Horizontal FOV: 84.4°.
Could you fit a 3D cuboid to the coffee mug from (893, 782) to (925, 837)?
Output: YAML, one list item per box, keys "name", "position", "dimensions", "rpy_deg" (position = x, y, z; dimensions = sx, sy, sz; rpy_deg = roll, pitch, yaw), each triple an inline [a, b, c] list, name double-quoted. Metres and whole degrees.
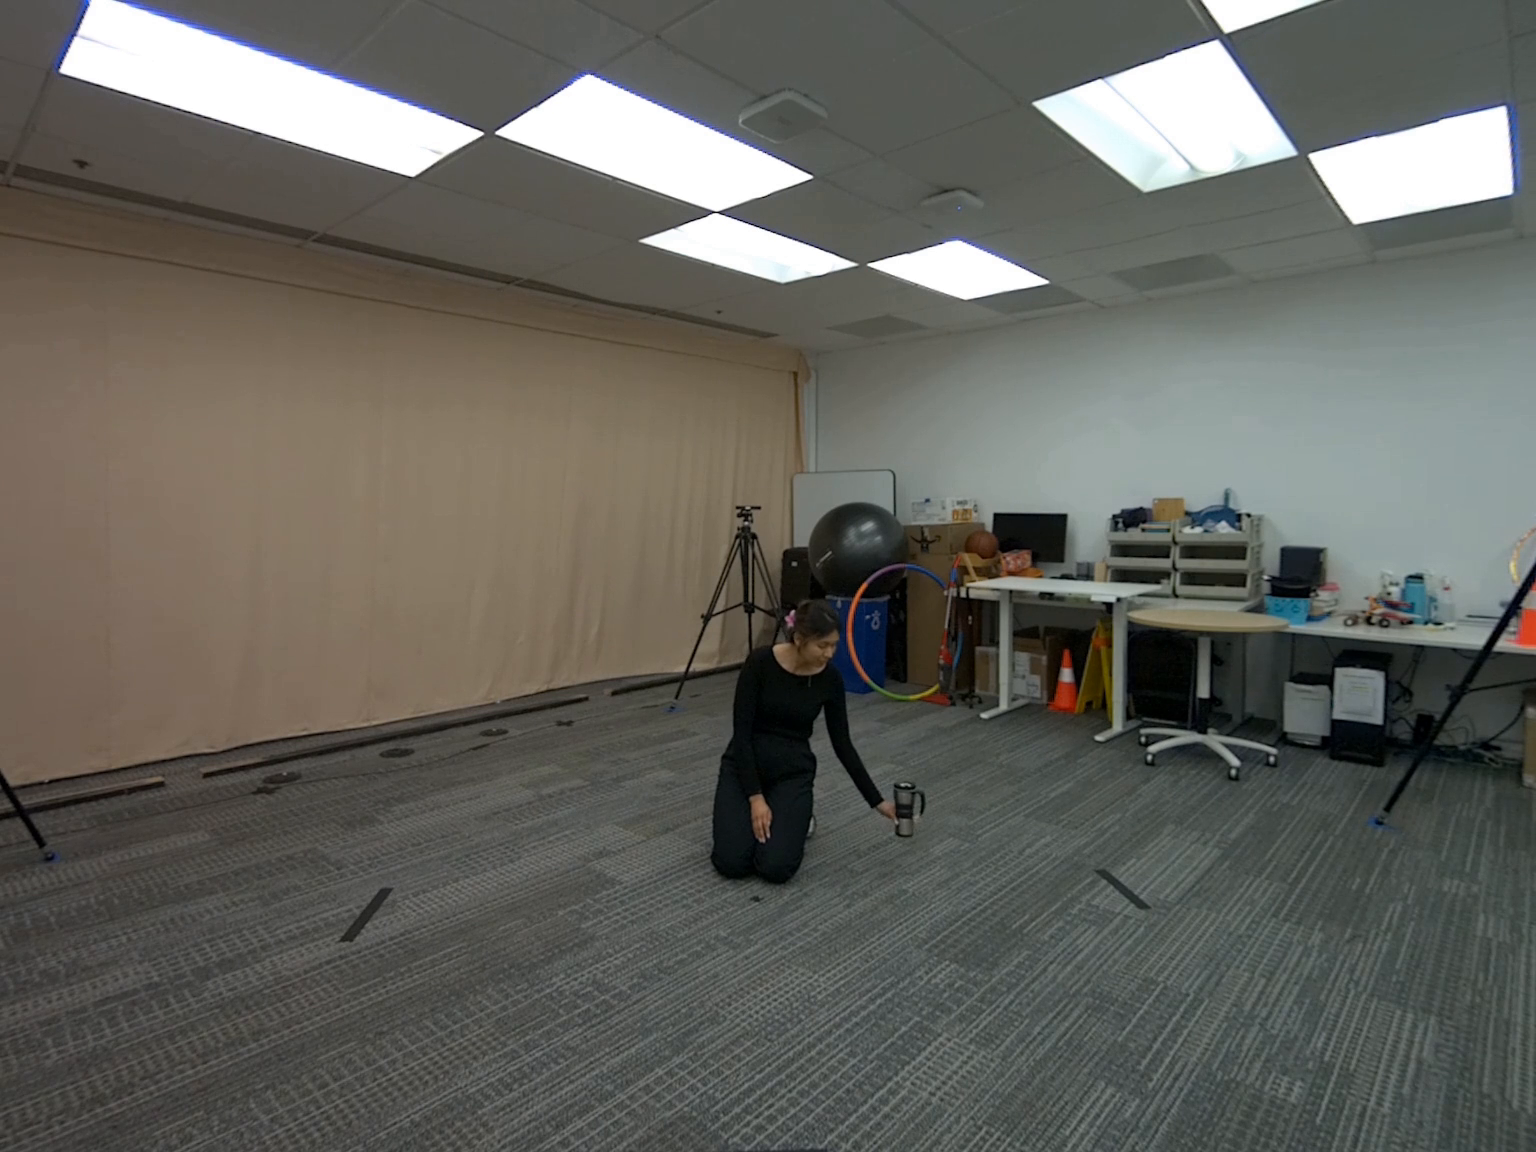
- name: "coffee mug"
  position: [0.555, 0.920, 3.280]
  dimensions: [0.085, 0.203, 0.125]
  rpy_deg: [2, -4, -35]
